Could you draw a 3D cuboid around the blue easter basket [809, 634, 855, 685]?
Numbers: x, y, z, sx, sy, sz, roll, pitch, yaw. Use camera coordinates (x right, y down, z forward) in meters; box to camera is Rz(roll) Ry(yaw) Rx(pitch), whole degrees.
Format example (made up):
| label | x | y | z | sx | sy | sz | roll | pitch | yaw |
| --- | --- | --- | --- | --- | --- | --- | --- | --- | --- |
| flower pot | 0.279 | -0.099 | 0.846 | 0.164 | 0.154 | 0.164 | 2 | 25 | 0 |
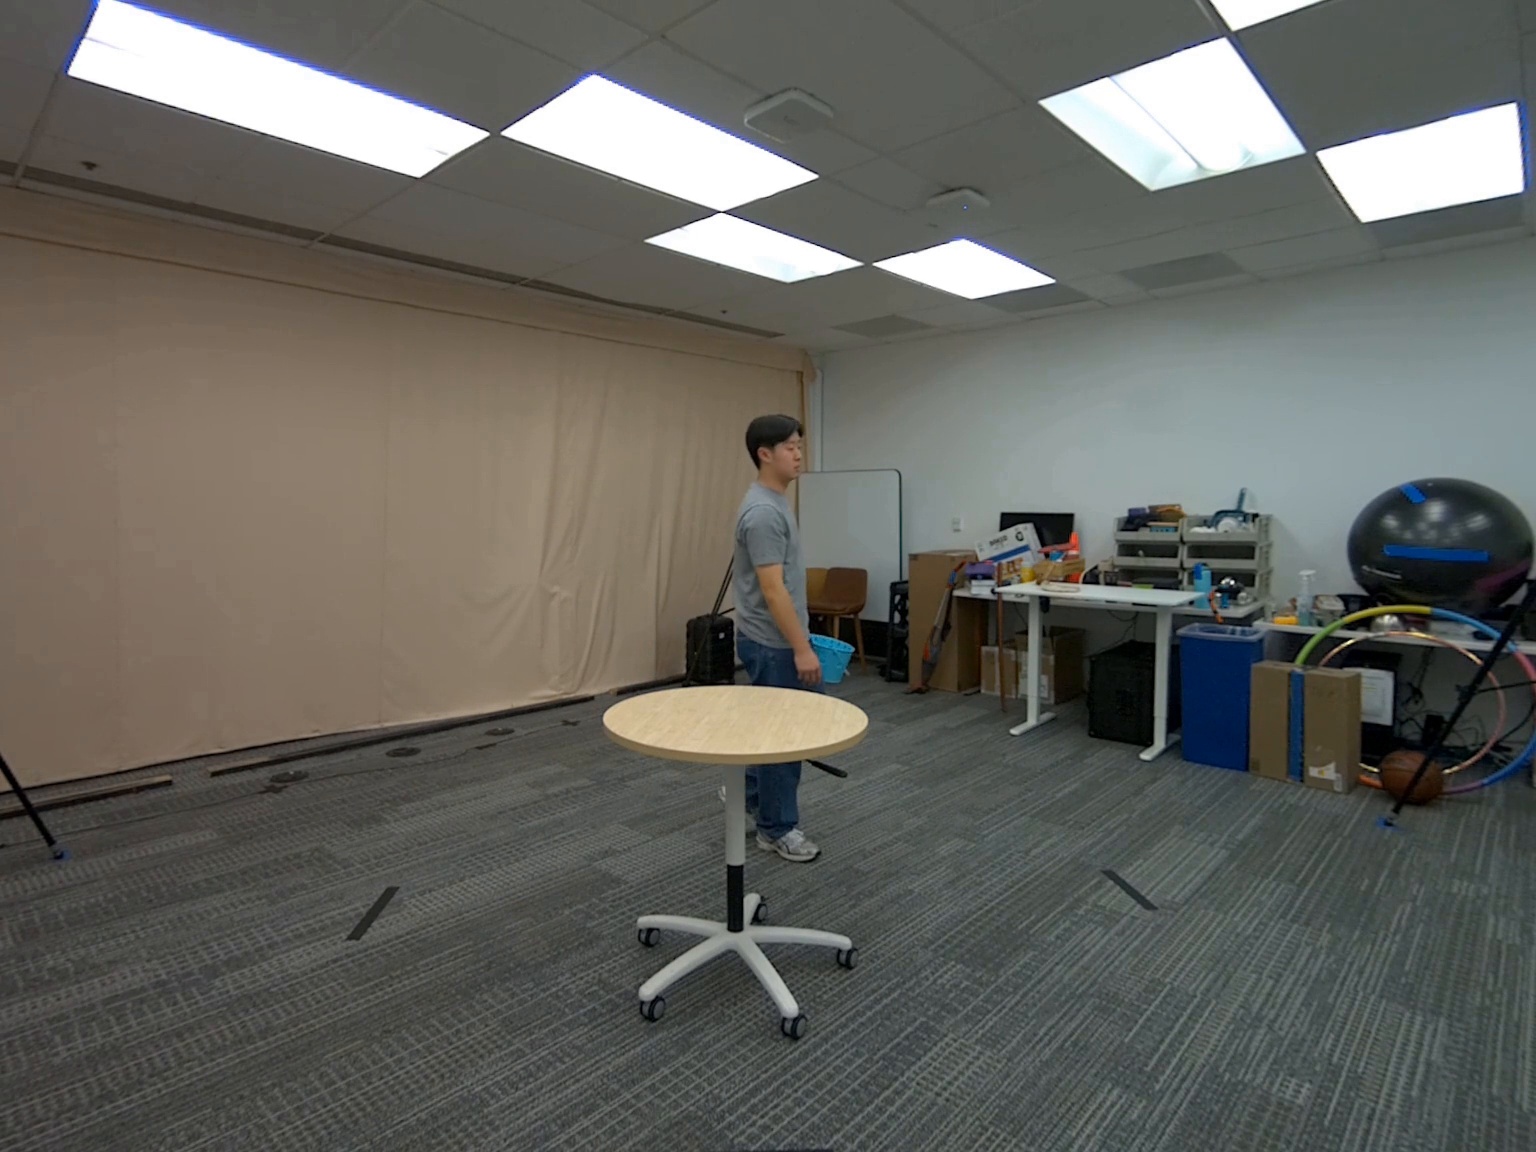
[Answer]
| label | x | y | z | sx | sy | sz | roll | pitch | yaw |
| --- | --- | --- | --- | --- | --- | --- | --- | --- | --- |
| blue easter basket | 0.259 | 0.366 | 3.673 | 0.243 | 0.155 | 0.245 | 10 | 6 | -3 |
